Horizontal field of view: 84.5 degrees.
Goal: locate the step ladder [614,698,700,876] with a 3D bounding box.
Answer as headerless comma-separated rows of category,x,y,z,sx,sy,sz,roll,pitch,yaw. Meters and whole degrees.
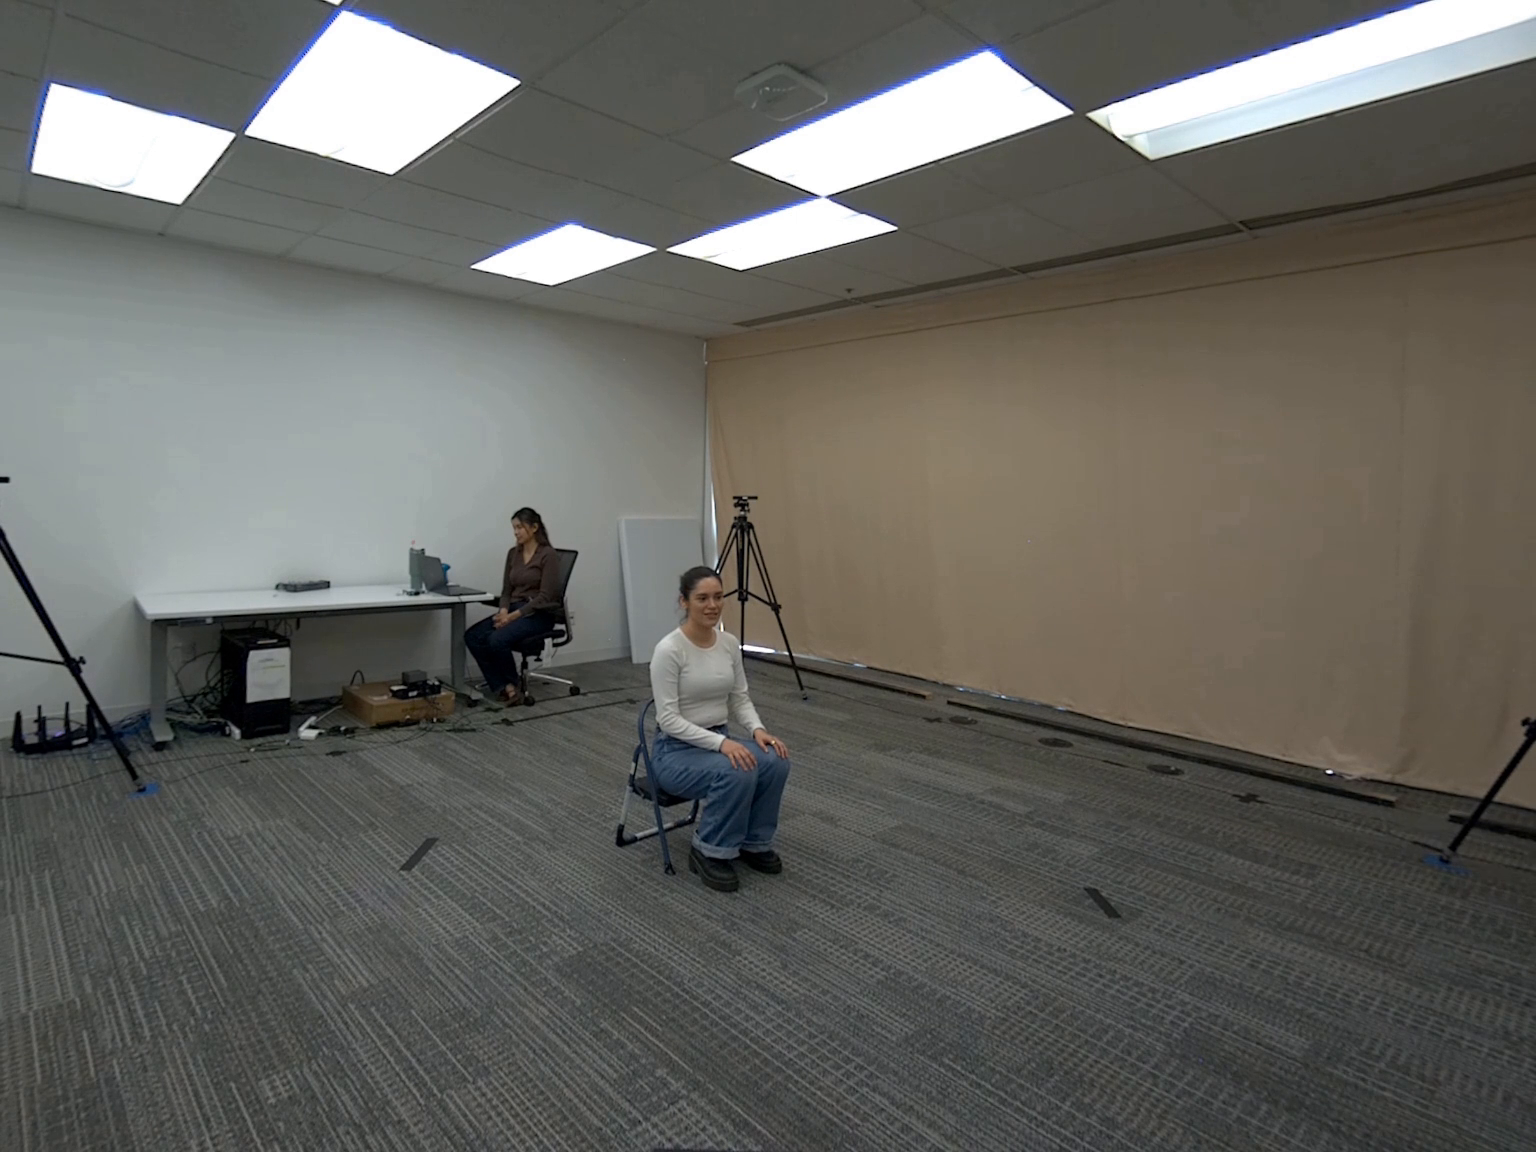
step ladder,-0.341,0.773,3.347,0.358,0.605,0.421,5,5,44
